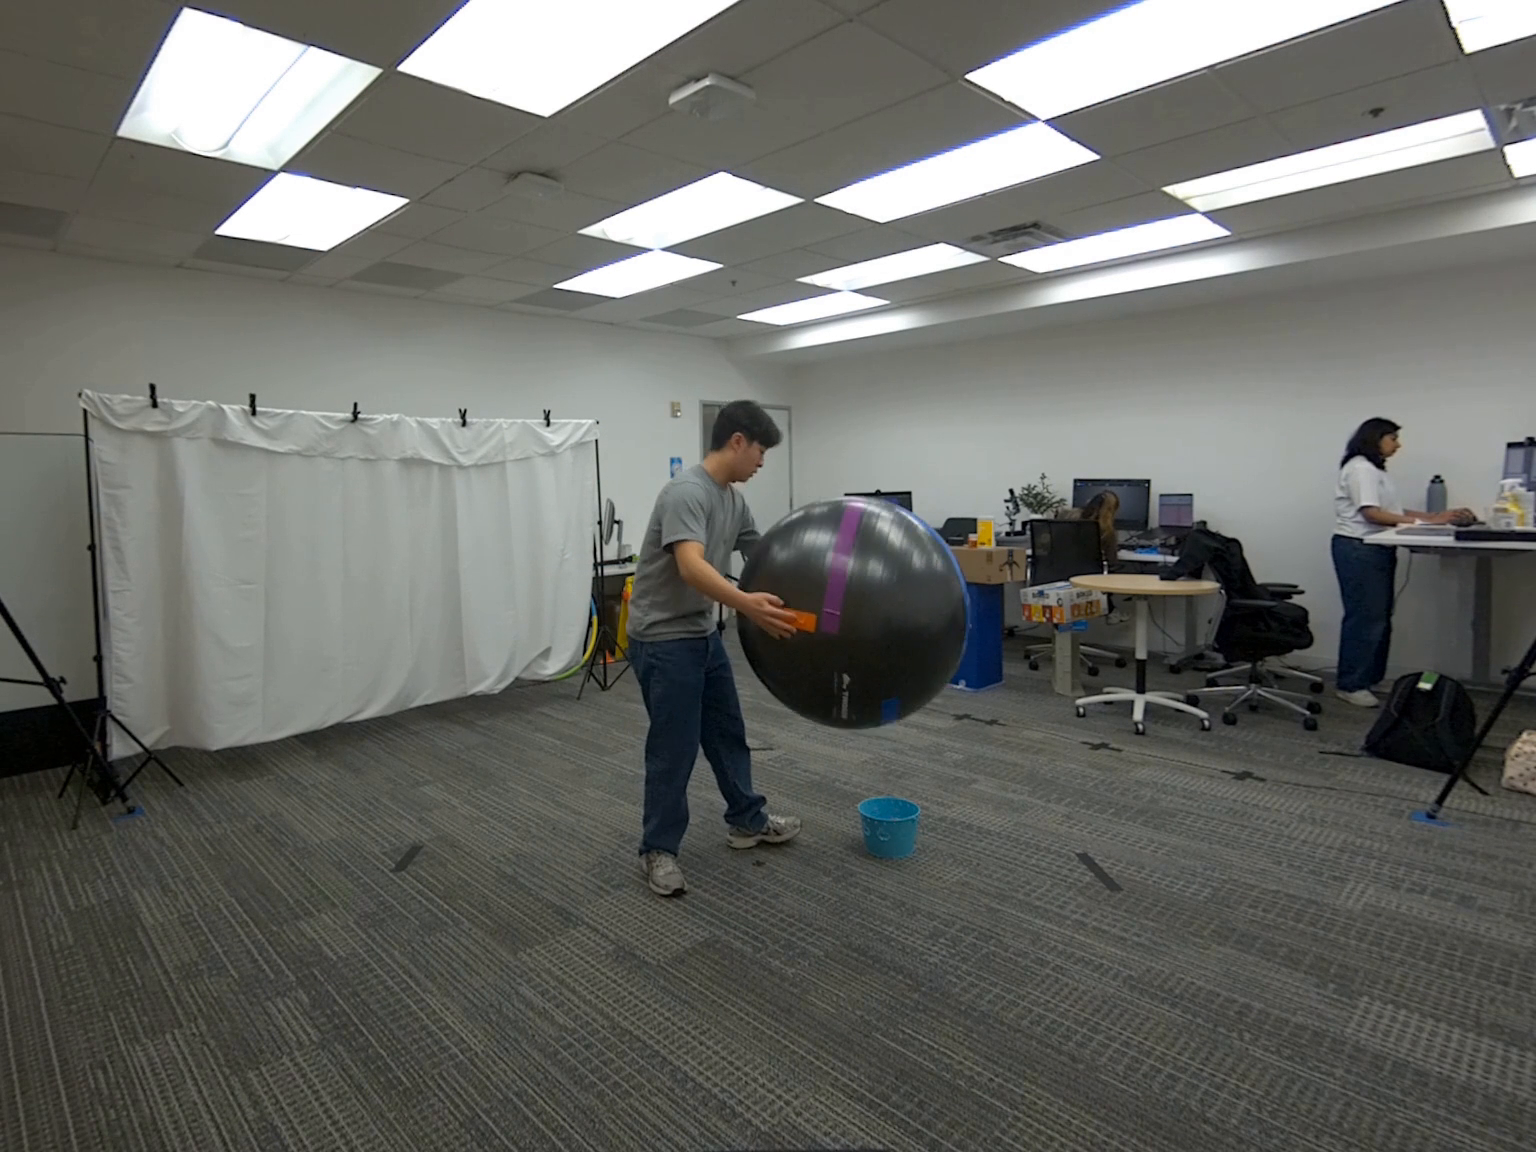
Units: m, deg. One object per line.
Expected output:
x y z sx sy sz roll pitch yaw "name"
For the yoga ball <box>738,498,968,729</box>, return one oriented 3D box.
0.276 0.126 2.801 0.757 0.755 0.762 -1 5 -2 "yoga ball"
